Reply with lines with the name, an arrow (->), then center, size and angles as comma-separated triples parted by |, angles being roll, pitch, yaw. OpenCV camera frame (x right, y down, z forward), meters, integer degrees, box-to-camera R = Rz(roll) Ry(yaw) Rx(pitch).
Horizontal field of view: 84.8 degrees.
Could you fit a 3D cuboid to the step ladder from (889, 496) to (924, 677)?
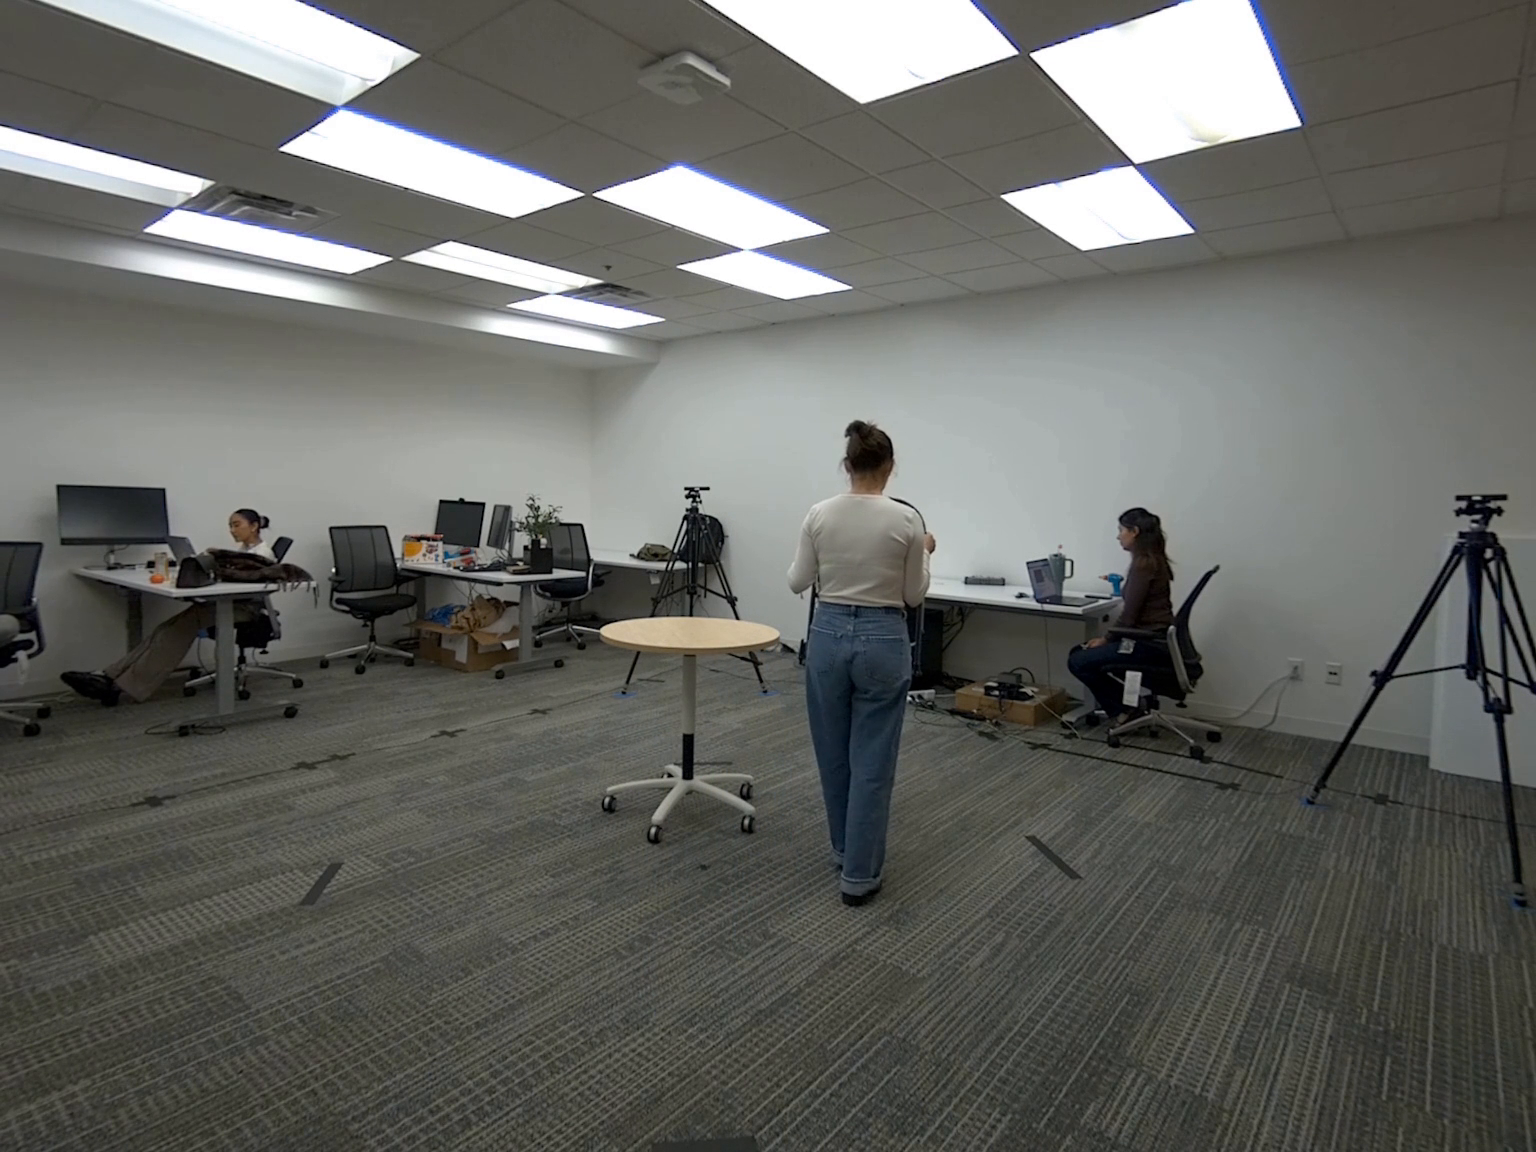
step ladder -> 0.371, 0.004, 3.195 | 0.437, 0.601, 0.347 | 4, 9, 13
